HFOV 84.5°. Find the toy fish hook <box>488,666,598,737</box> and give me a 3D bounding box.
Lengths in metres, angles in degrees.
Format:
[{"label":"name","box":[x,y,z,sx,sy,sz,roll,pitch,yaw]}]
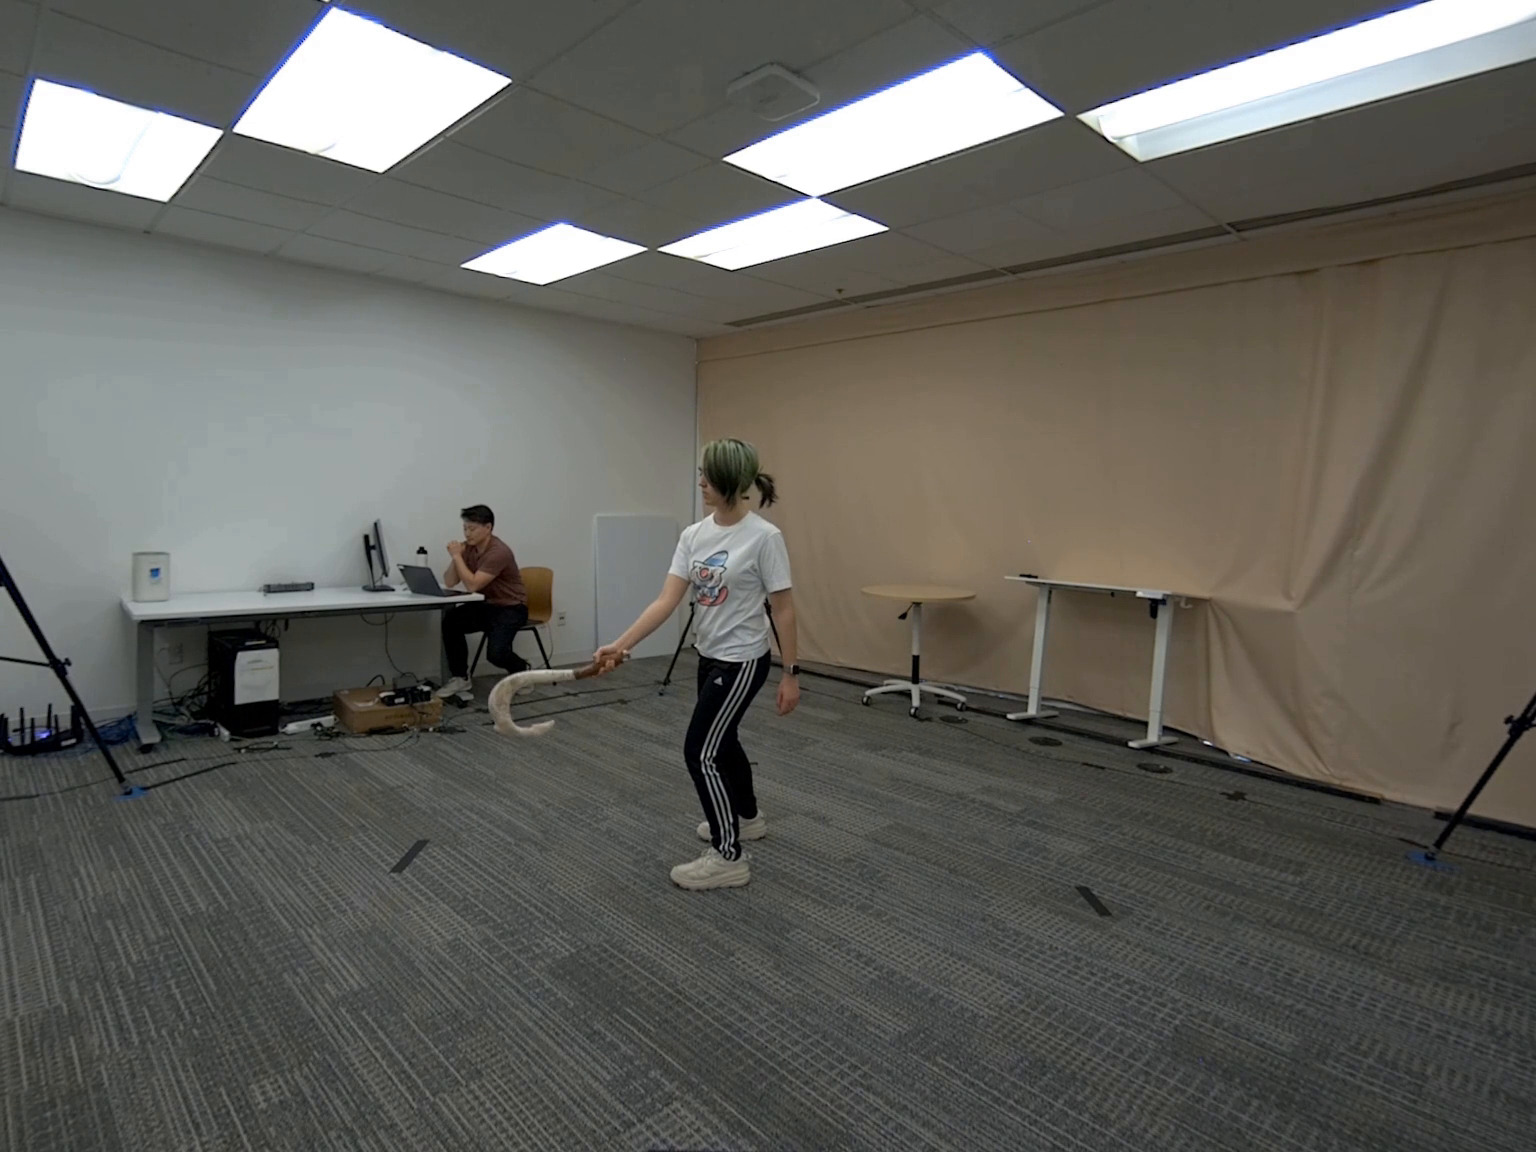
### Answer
[{"label":"toy fish hook","box":[-0.714,0.371,2.889,0.505,0.226,0.048,-17,-8,-5]}]
